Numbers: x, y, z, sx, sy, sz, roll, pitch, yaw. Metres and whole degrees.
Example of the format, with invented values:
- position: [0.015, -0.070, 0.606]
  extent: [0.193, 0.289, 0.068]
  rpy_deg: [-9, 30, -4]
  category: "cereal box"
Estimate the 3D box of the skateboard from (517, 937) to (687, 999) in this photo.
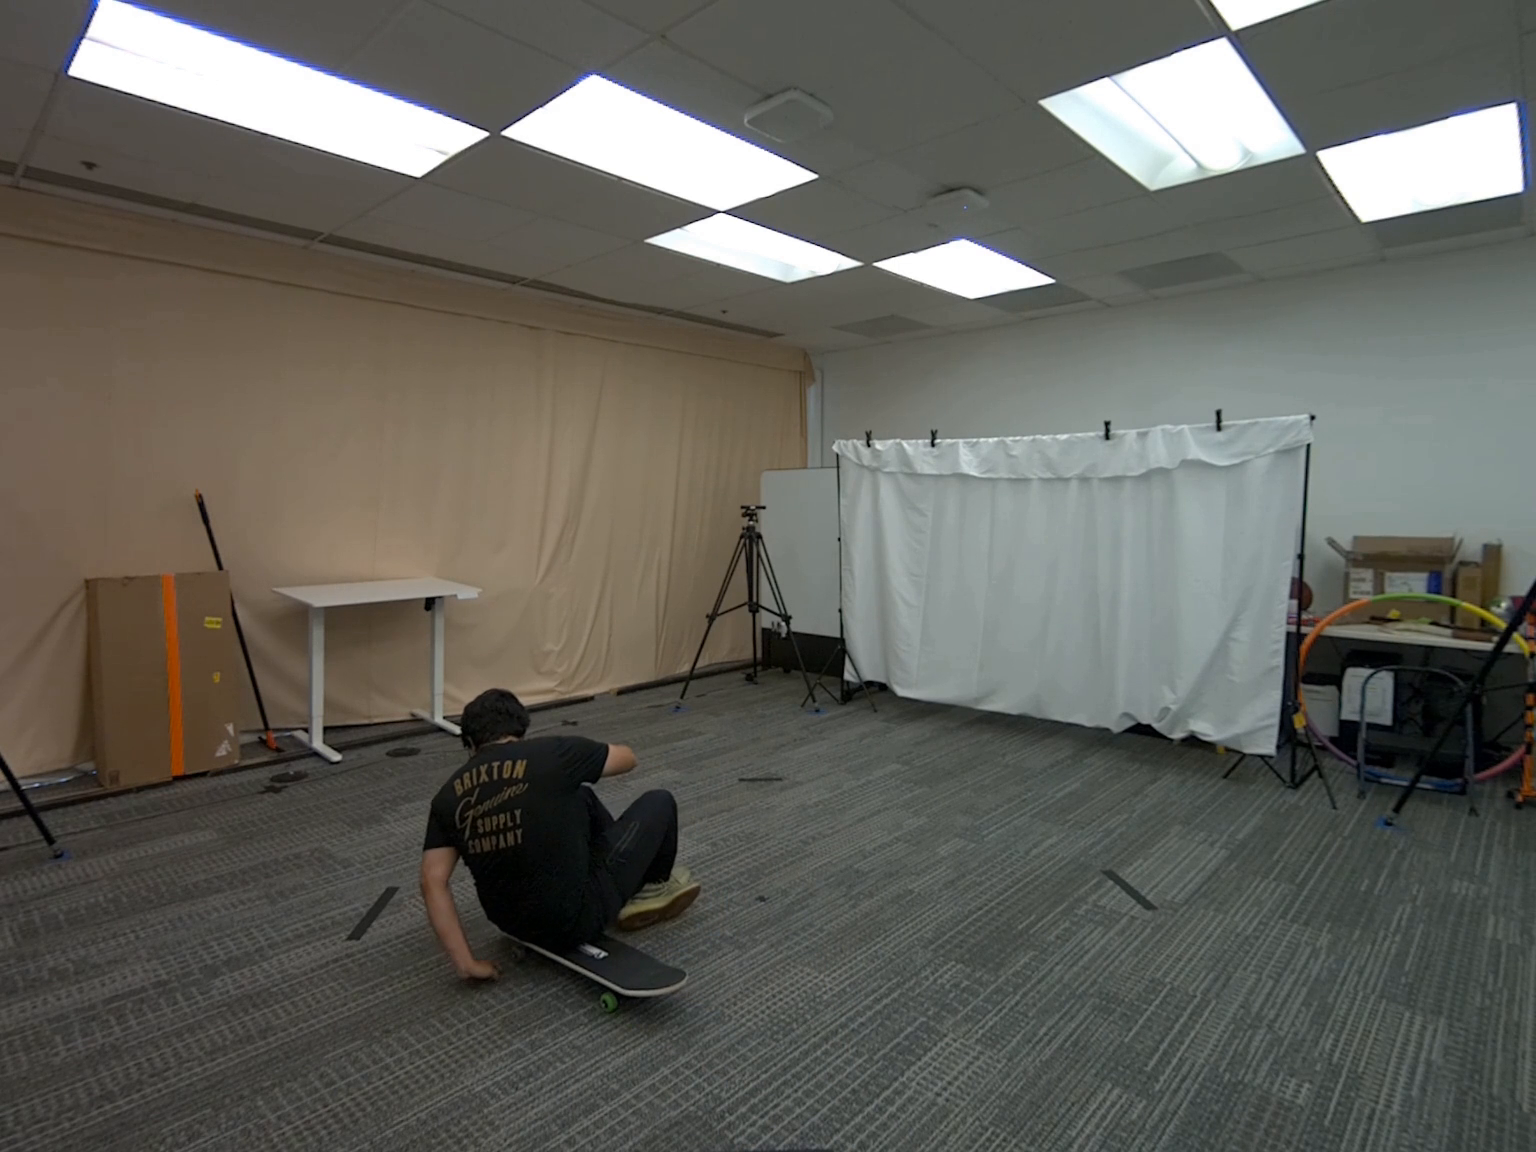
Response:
- position: [-0.553, 1.133, 2.505]
  extent: [0.811, 0.110, 0.187]
  rpy_deg: [2, 2, 40]
  category: "skateboard"
